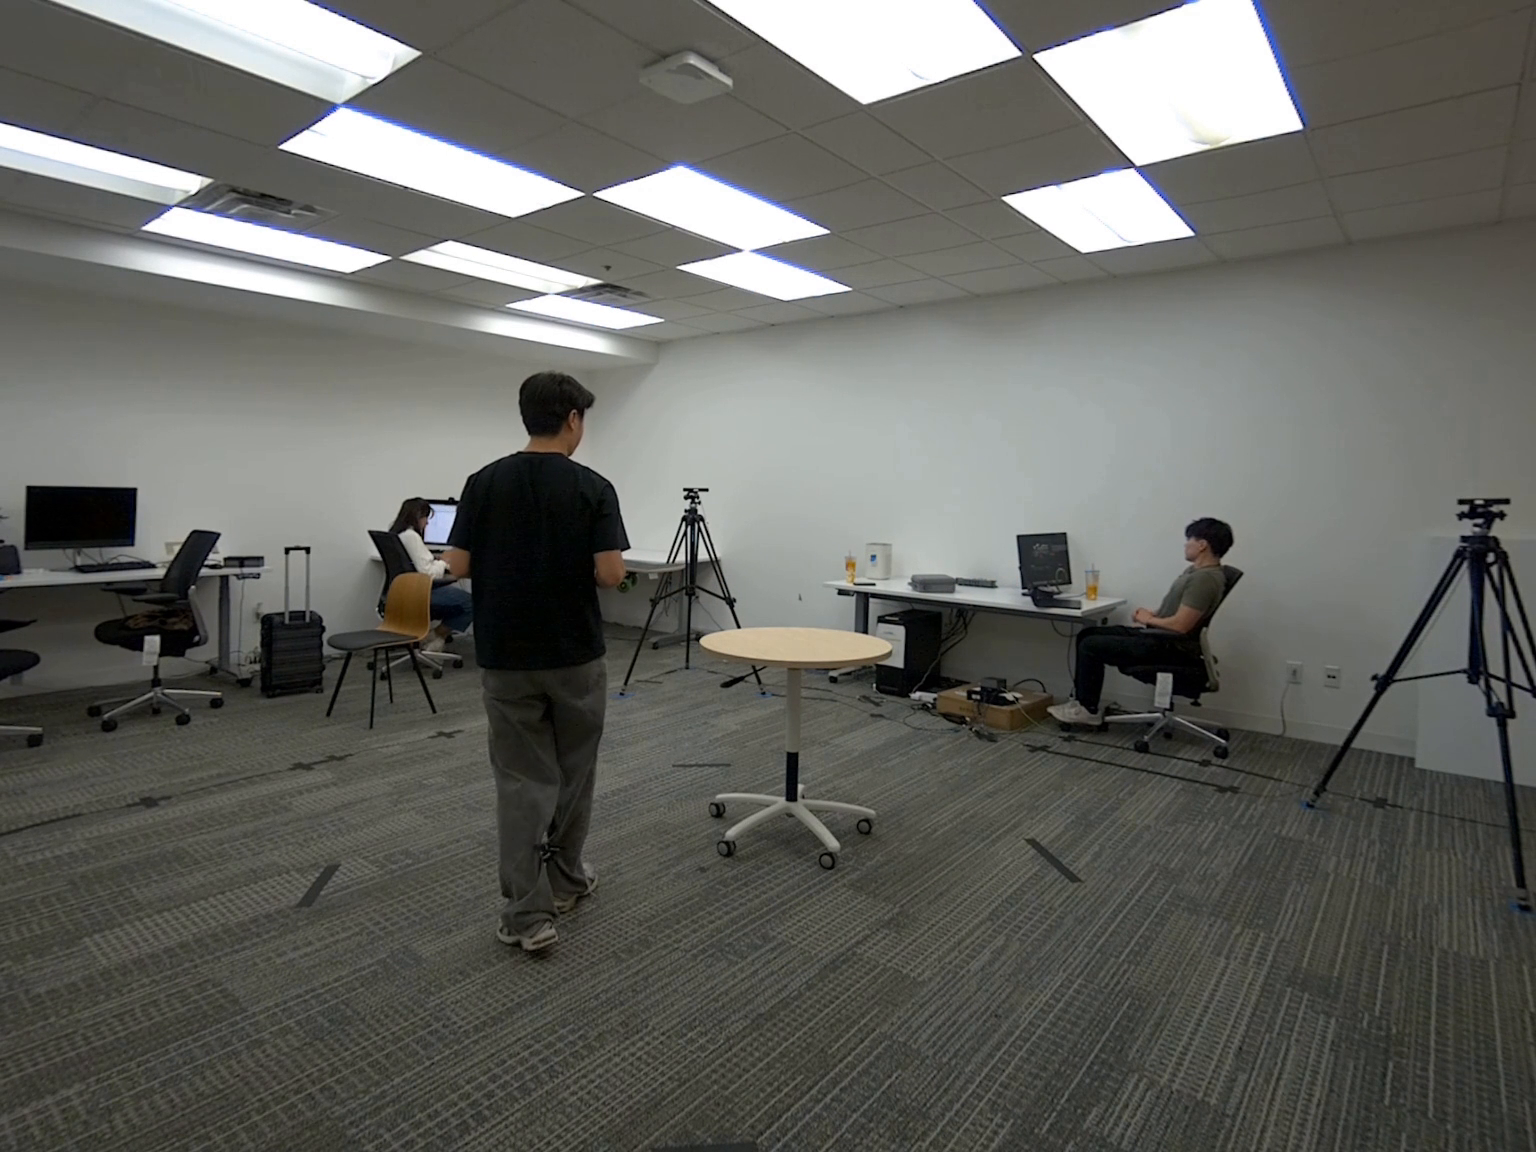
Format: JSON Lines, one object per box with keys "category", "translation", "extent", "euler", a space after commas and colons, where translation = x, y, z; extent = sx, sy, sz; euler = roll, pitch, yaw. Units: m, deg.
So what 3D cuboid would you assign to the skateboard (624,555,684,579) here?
{"category": "skateboard", "translation": [-0.694, -0.025, 3.021], "extent": [0.787, 0.109, 0.194], "euler": [6, 9, 1]}
